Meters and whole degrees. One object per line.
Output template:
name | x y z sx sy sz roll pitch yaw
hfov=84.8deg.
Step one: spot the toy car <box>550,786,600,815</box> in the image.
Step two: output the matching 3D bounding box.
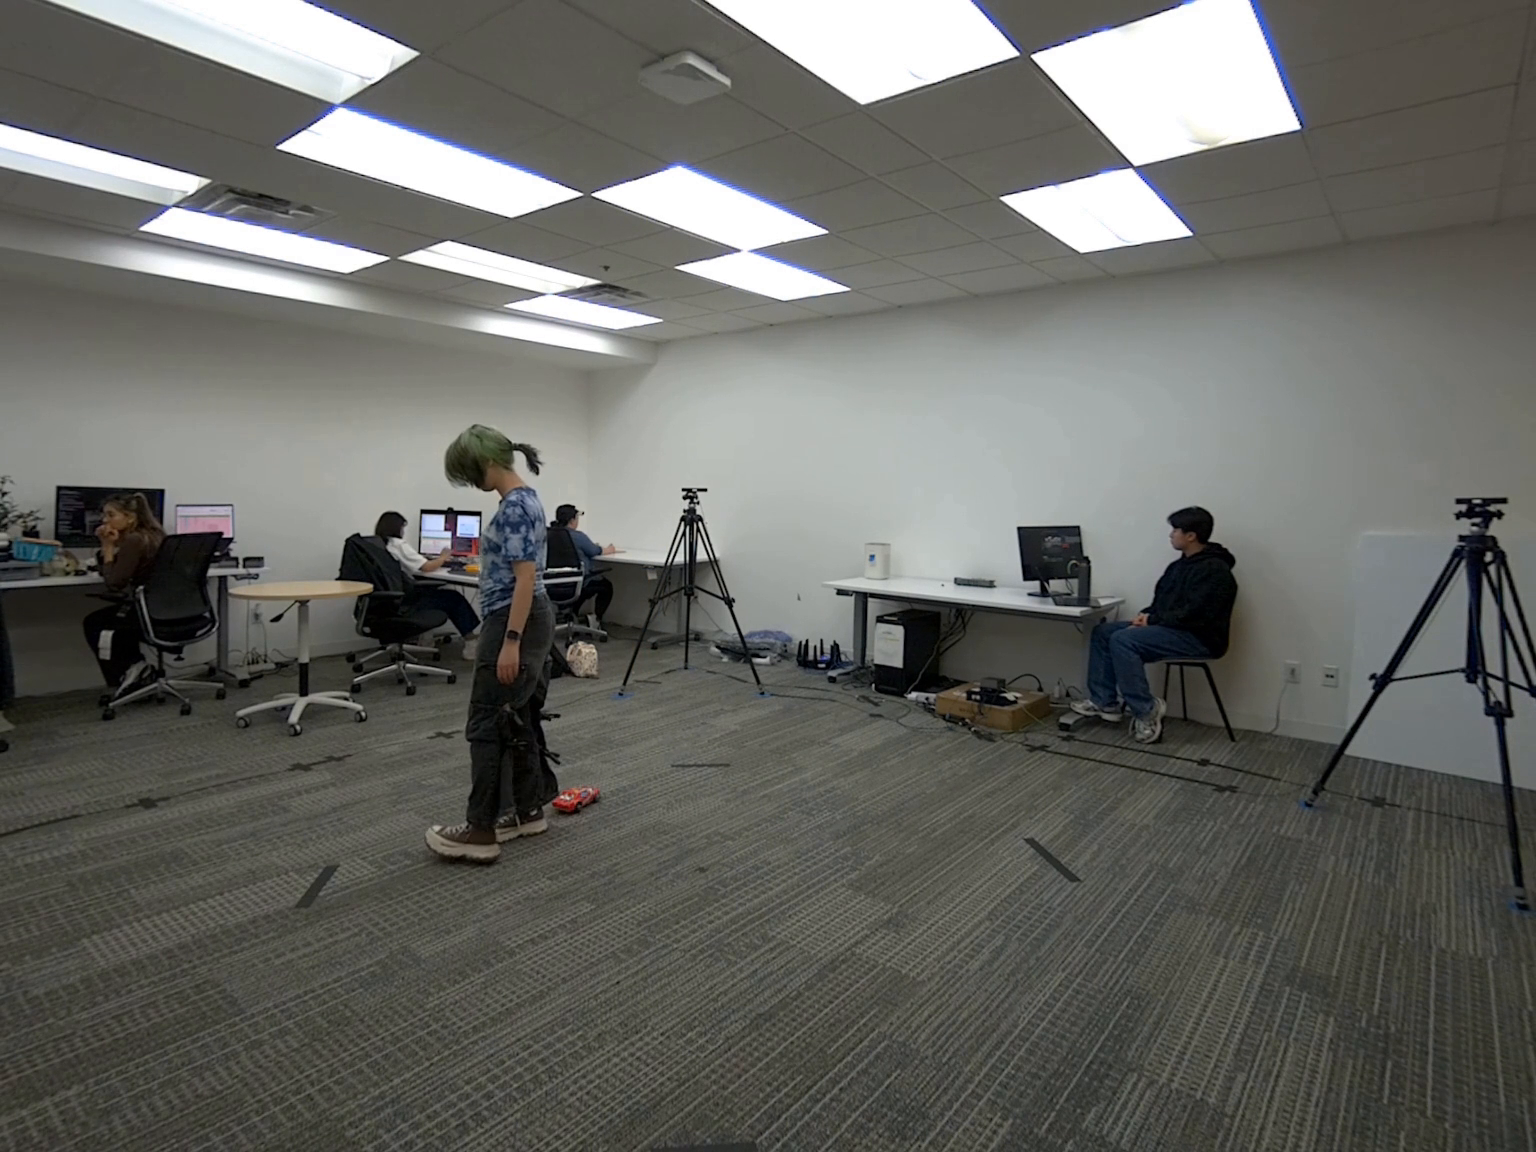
toy car | -0.855 0.971 3.703 0.134 0.083 0.247 4 -5 25
